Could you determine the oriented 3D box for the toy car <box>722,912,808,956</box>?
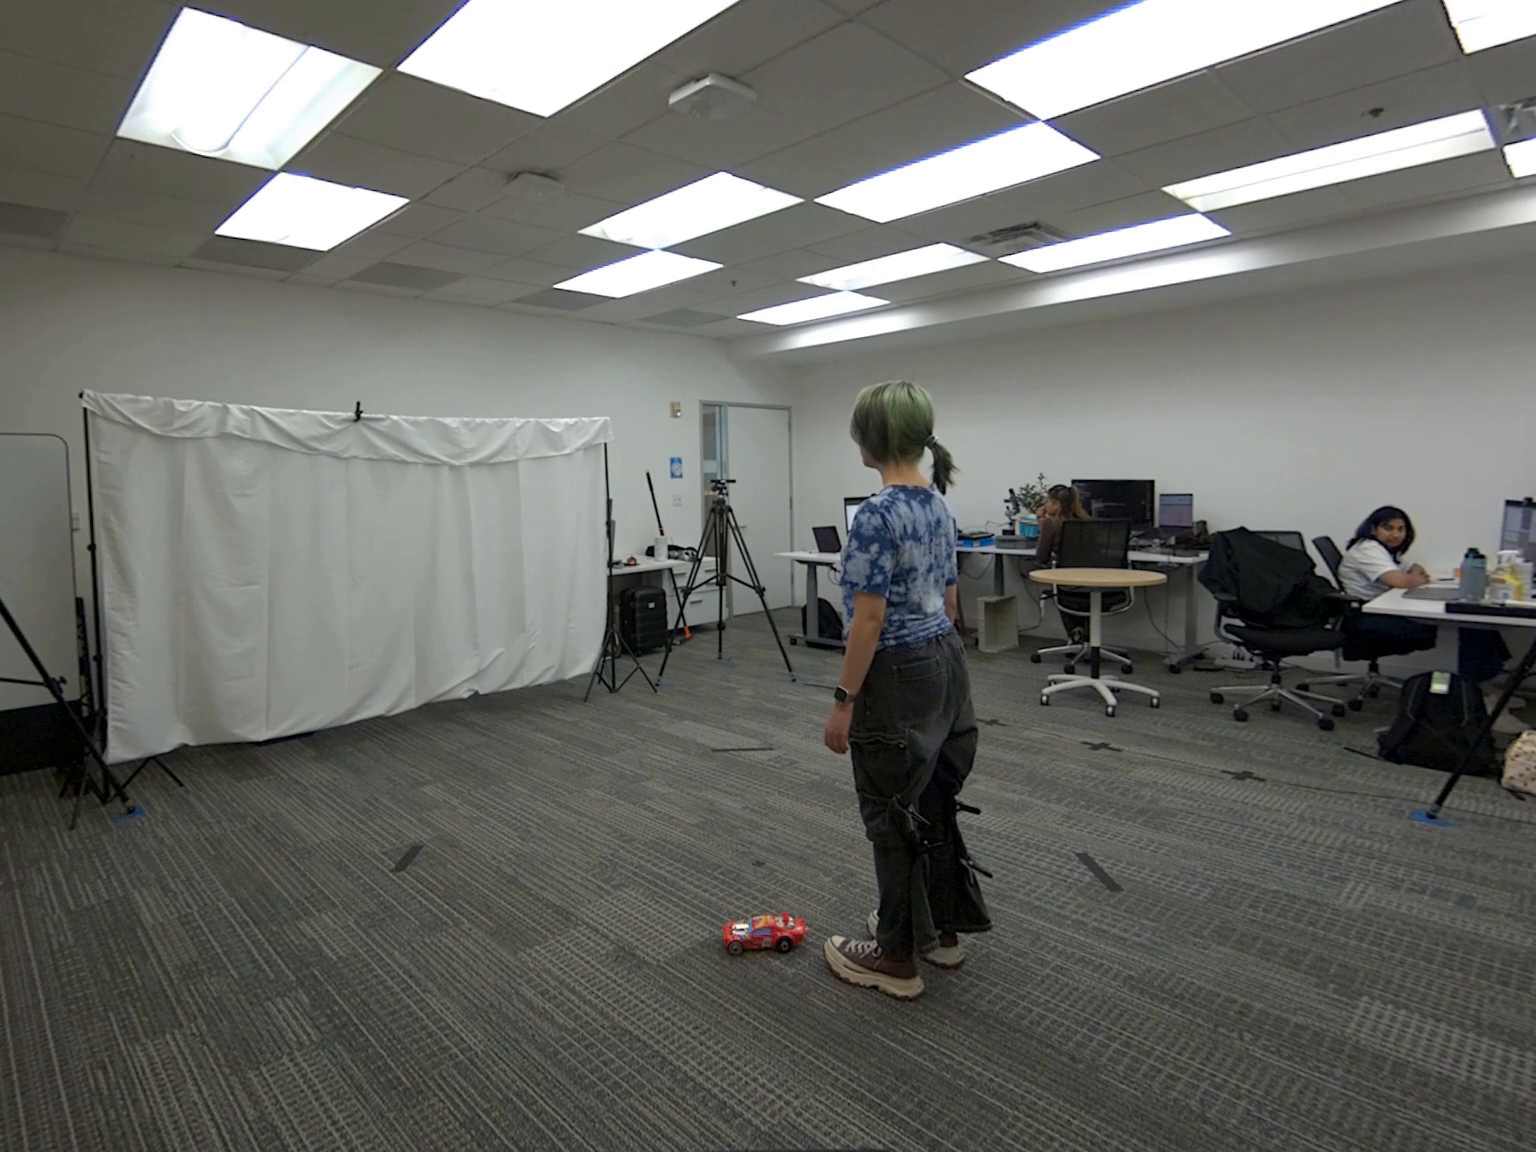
[{"bbox_3d":[-0.003,1.079,2.566,0.254,0.083,0.131,-13,5,-2],"label":"toy car"}]
